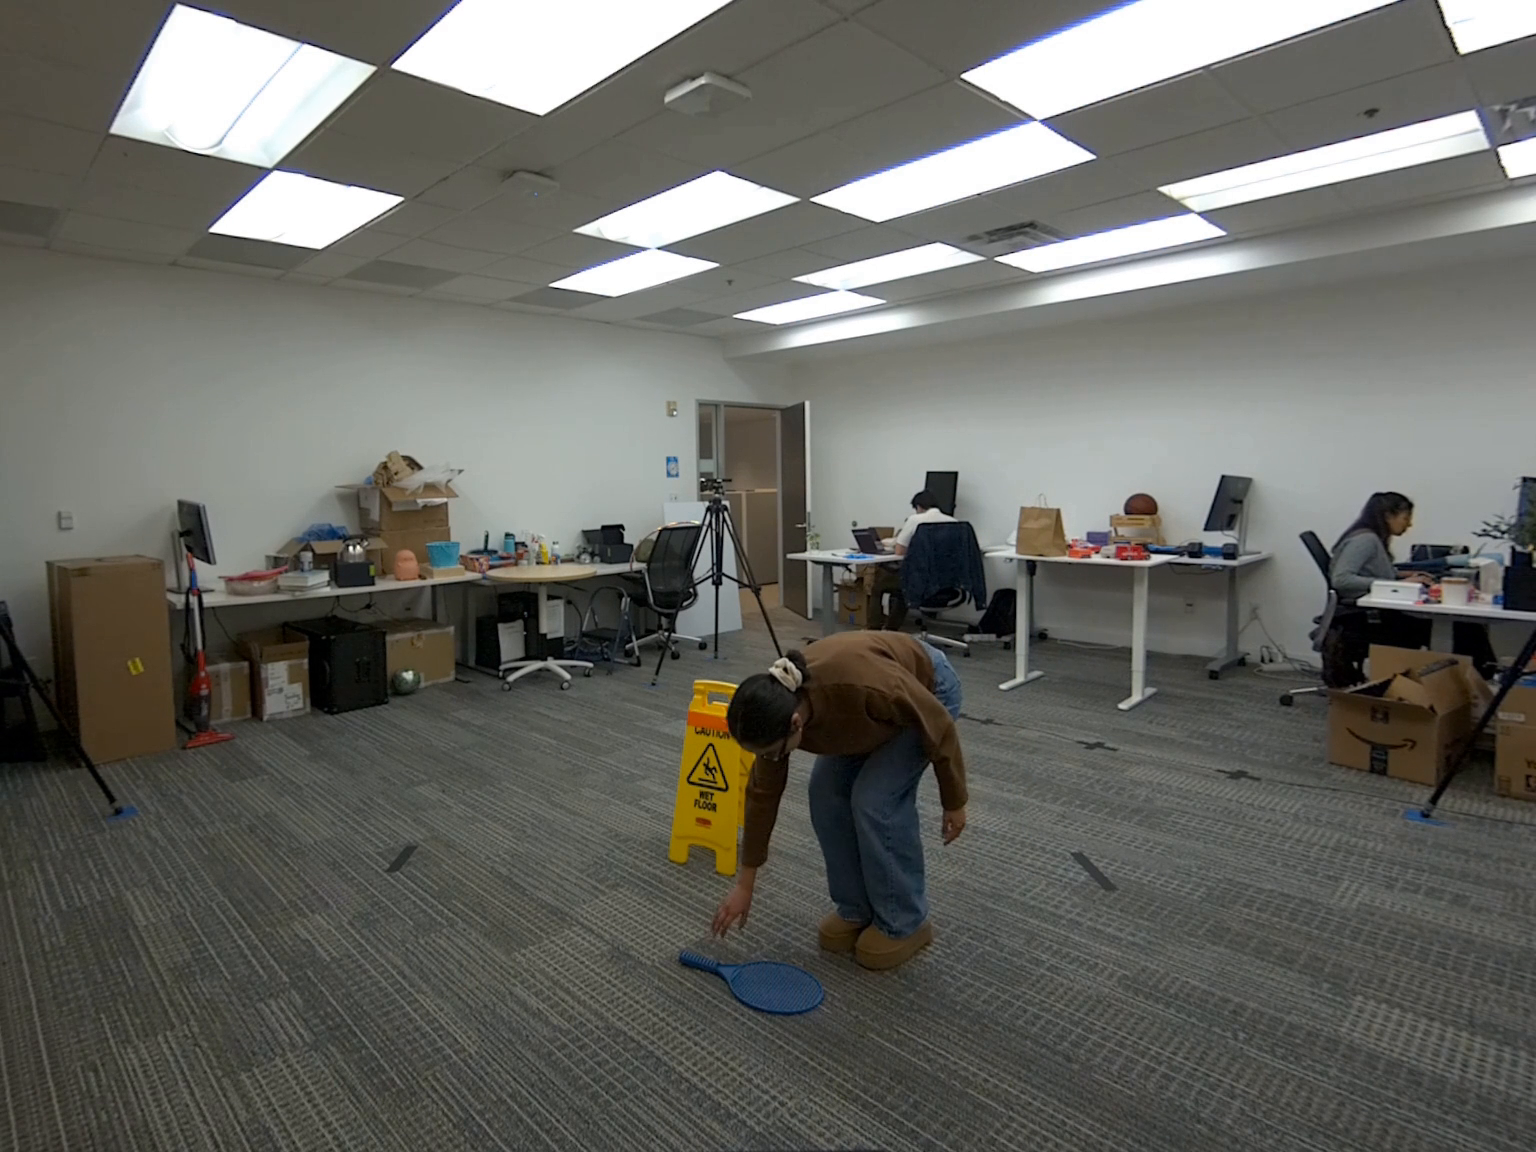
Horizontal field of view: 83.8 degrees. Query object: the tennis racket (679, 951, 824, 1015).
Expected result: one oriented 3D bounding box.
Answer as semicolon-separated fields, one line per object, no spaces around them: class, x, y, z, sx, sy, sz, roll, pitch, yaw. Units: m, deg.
tennis racket;-0.044;1.112;2.386;0.444;0.031;0.209;4;8;29
